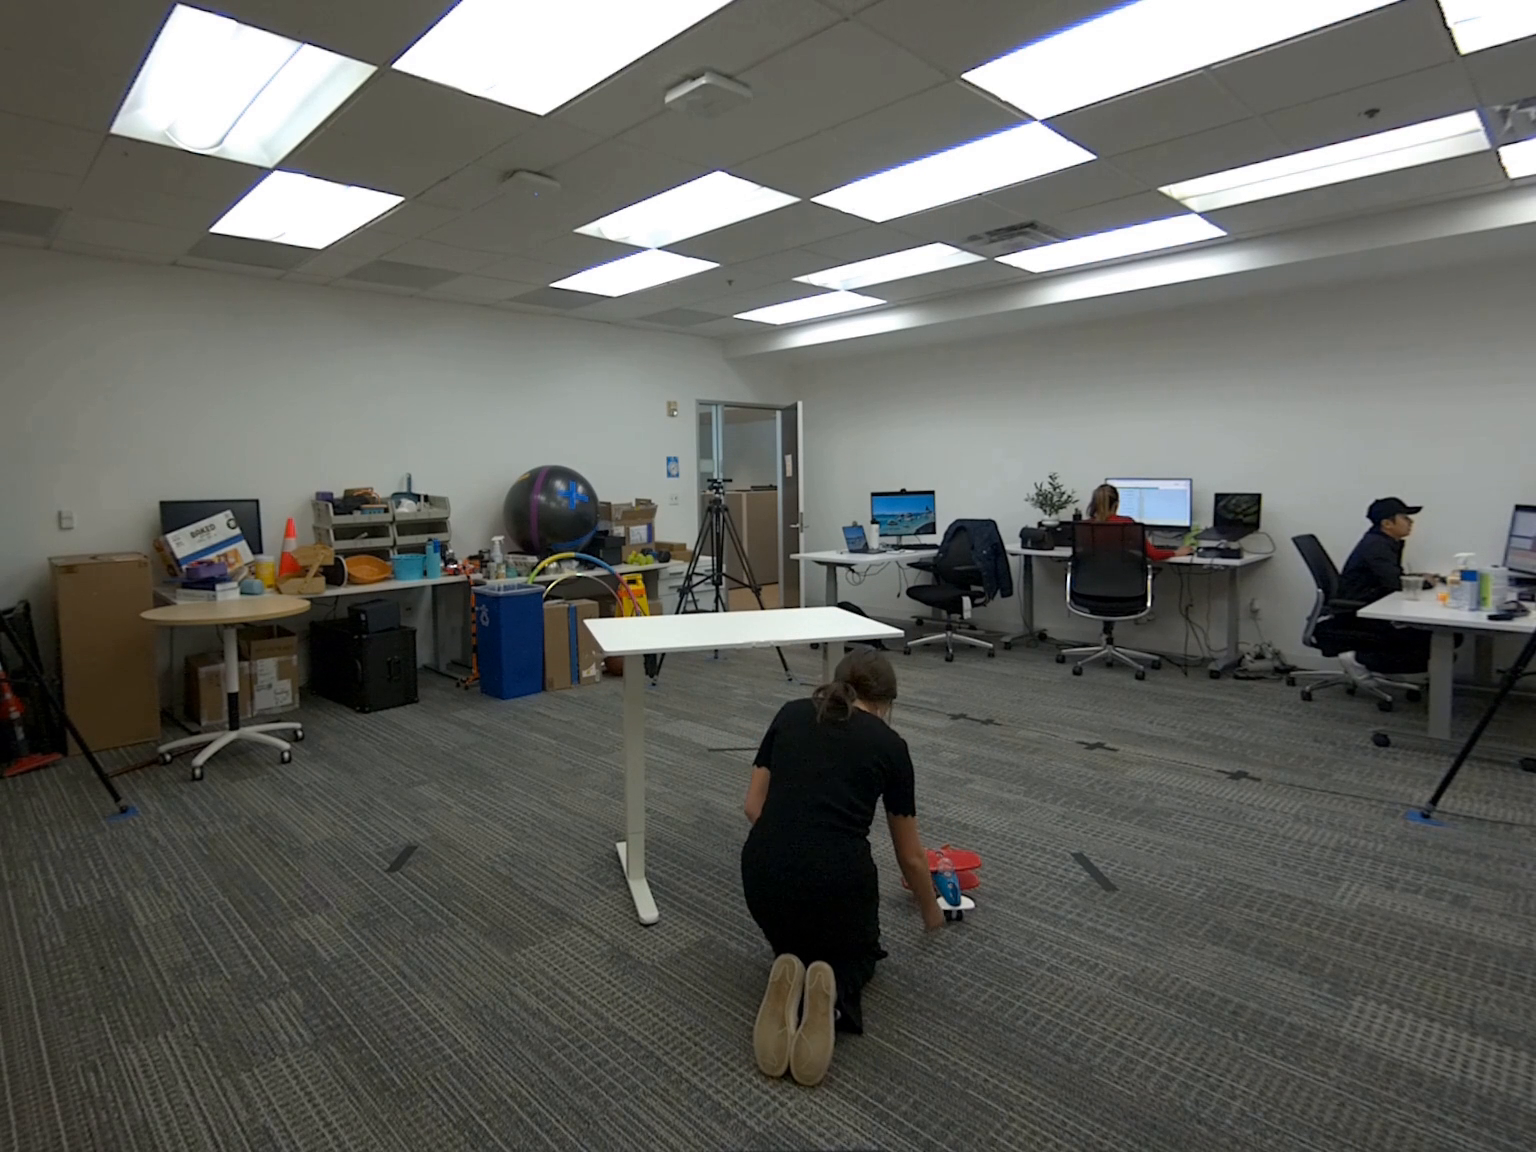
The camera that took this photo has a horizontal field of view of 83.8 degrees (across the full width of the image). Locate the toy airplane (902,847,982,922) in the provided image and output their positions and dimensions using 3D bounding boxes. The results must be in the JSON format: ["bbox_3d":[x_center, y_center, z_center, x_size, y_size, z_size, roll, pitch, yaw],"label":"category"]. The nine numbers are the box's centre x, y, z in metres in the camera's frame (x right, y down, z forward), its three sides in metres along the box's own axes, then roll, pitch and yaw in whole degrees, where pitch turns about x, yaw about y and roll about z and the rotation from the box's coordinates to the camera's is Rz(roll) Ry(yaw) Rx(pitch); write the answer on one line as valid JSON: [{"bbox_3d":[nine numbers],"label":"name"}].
[{"bbox_3d":[0.598,0.999,2.779,0.245,0.156,0.266,-4,6,-32],"label":"toy airplane"}]
